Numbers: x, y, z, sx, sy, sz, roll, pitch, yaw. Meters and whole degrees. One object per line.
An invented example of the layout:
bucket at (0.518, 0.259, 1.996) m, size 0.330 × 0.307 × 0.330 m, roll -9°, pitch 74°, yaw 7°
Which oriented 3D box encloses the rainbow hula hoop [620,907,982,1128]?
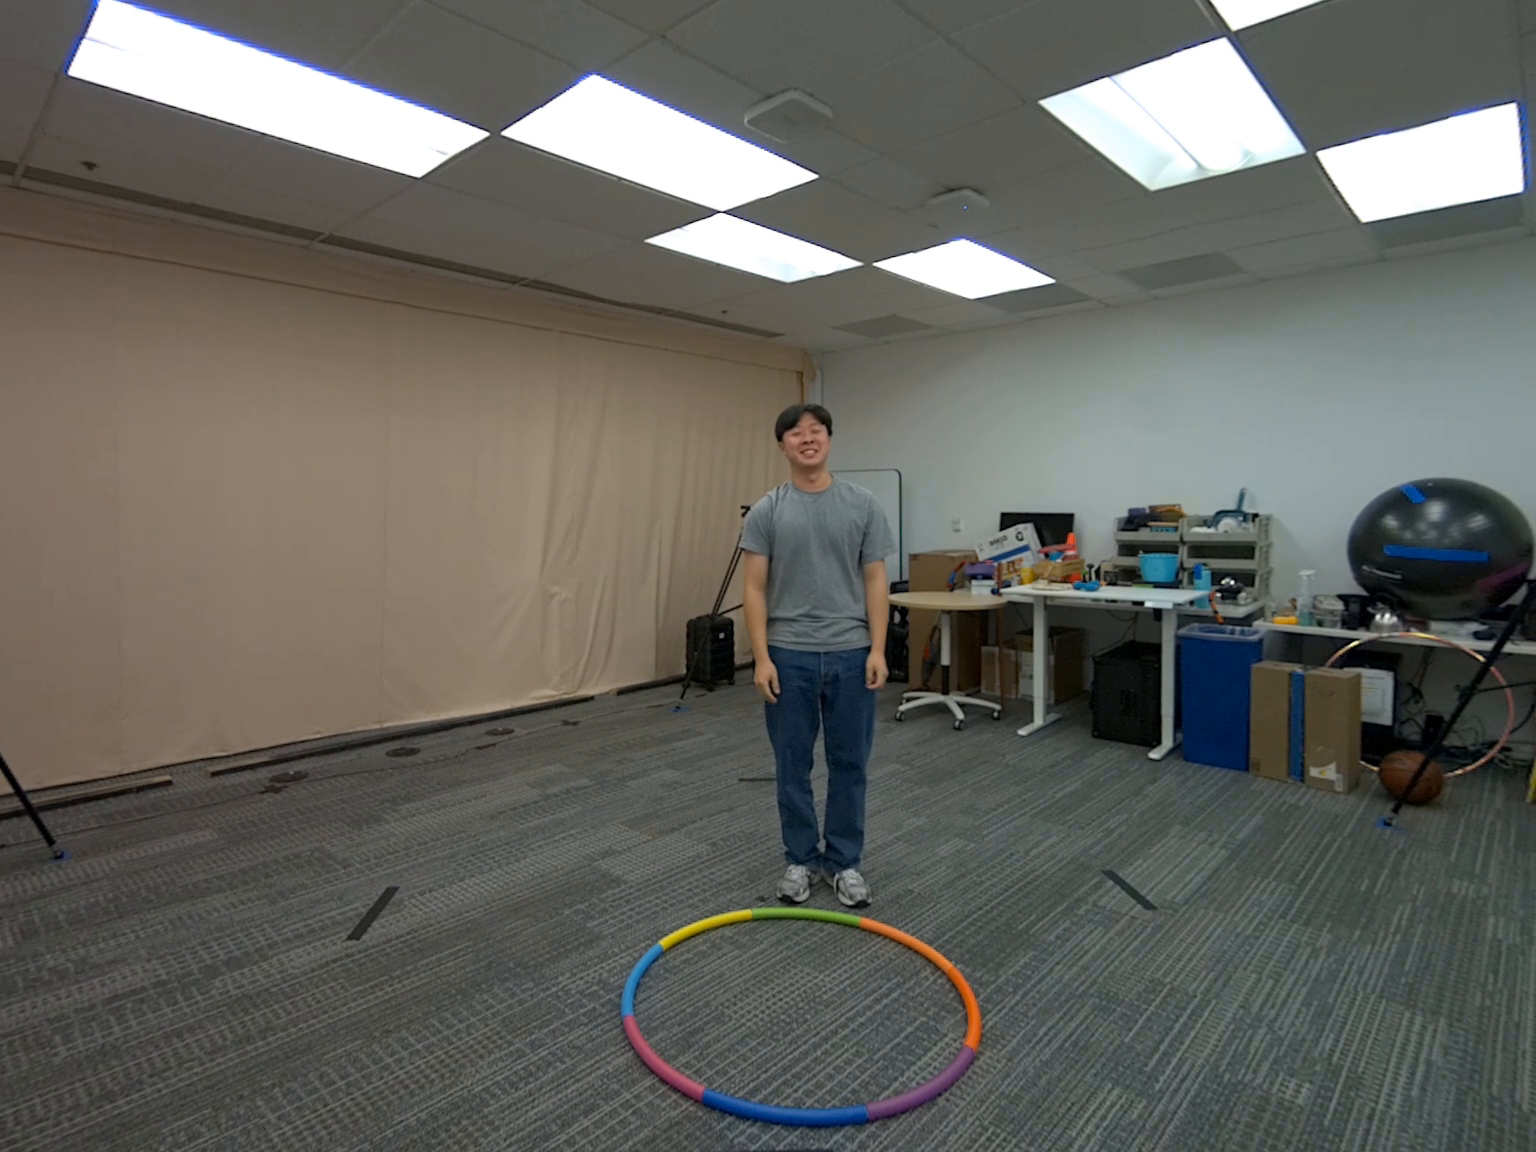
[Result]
rainbow hula hoop at (0.085, 1.165, 2.376) m, size 0.978 × 0.035 × 0.982 m, roll 0°, pitch 5°, yaw -2°
